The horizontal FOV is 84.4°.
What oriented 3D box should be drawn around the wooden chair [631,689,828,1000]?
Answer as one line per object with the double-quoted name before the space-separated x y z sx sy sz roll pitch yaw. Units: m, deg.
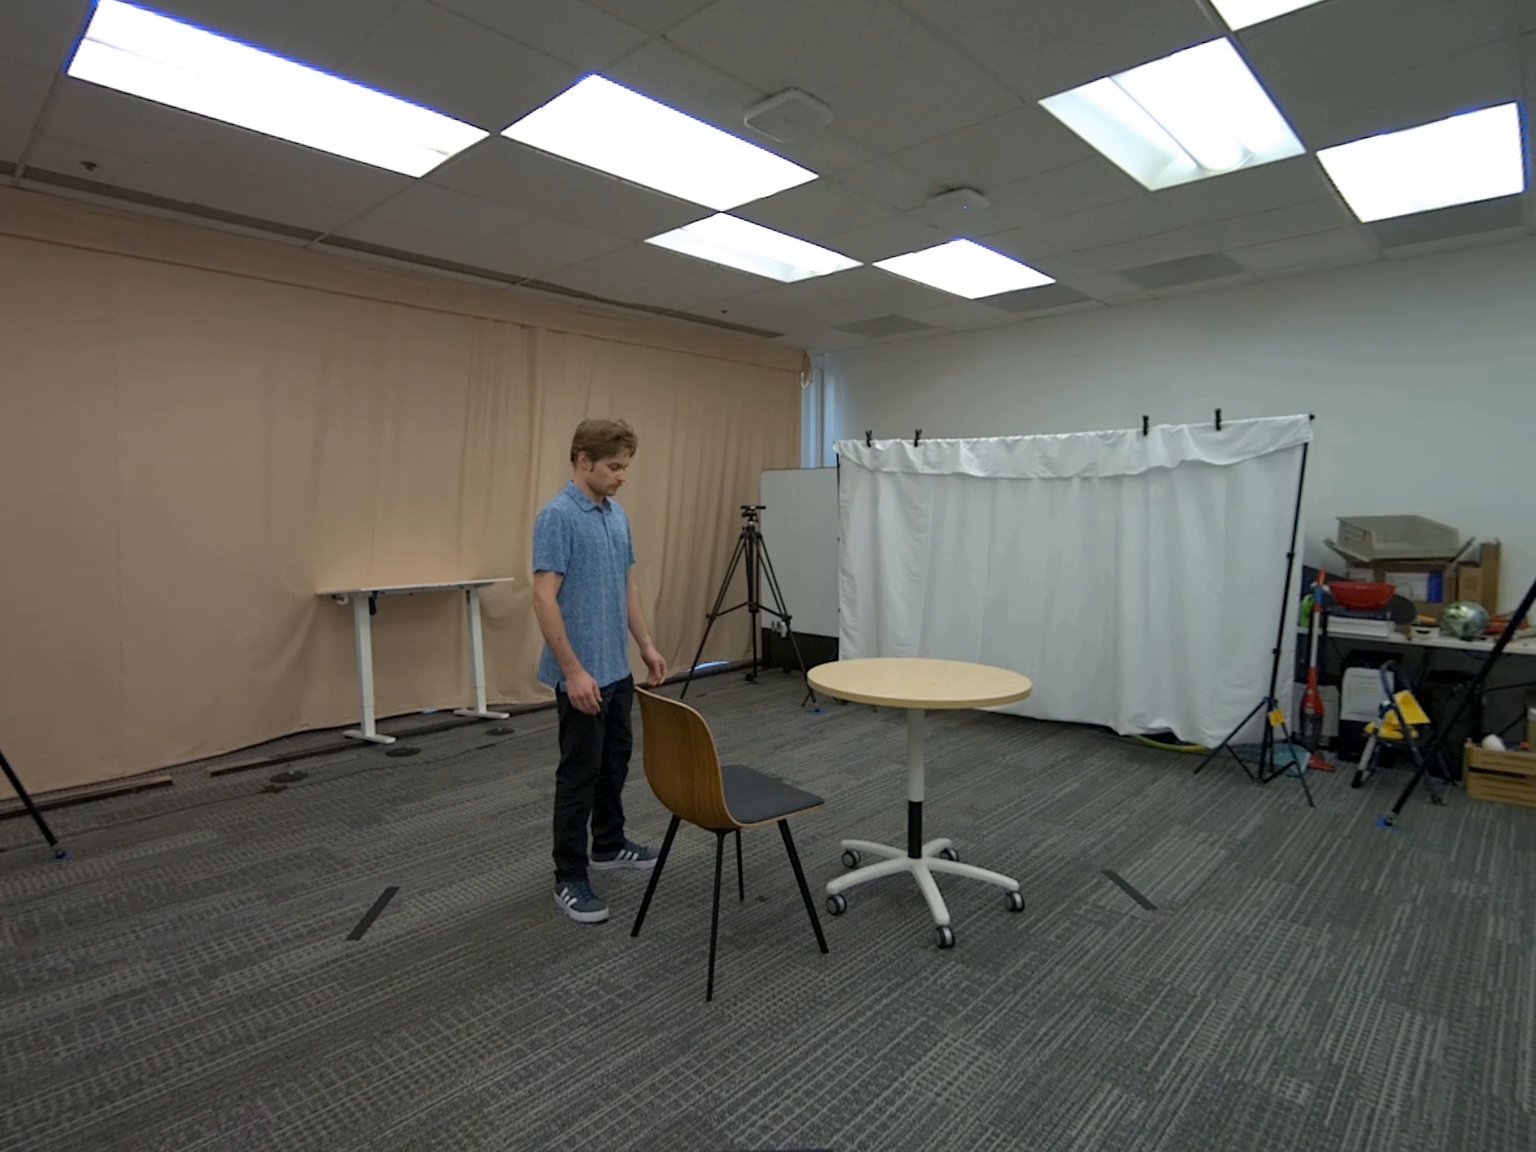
"wooden chair" -0.123 0.745 2.651 0.509 0.874 0.493 -8 7 -37
